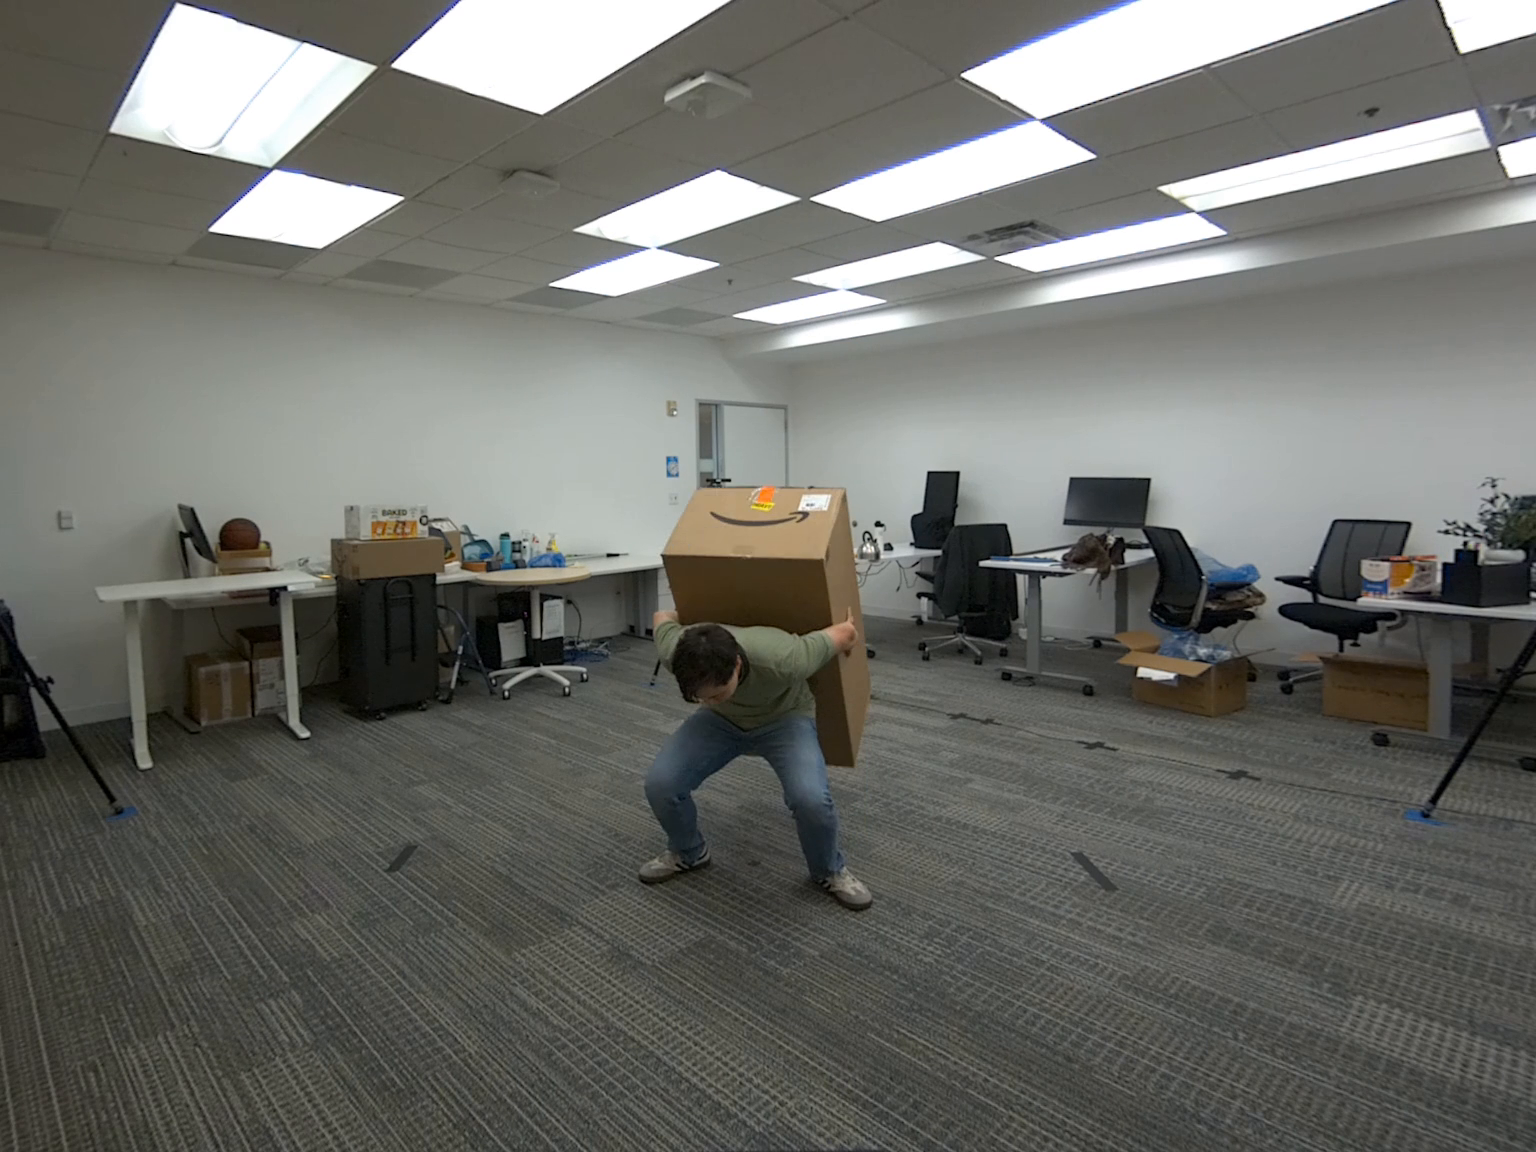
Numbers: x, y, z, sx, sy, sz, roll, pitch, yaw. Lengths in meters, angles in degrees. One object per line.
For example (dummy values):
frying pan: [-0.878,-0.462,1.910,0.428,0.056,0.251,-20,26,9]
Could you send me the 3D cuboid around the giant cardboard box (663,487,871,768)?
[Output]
giant cardboard box: [0.033,0.203,3.276,0.588,0.995,0.431,3,37,19]
